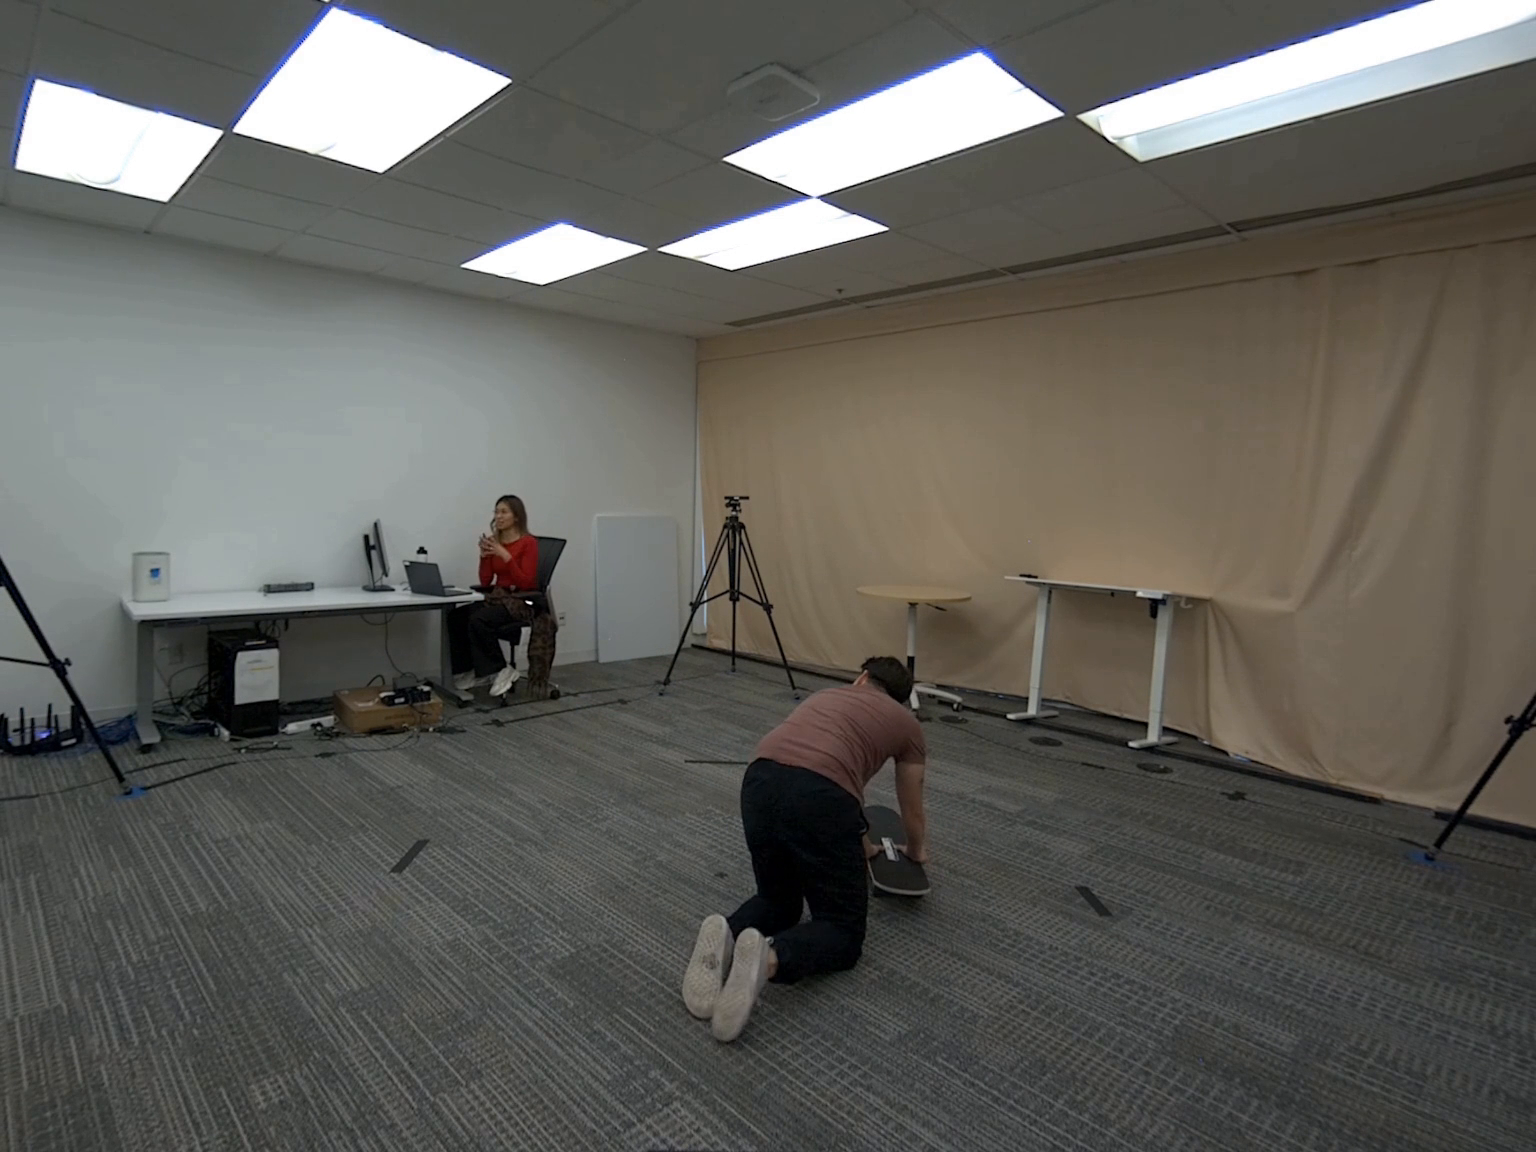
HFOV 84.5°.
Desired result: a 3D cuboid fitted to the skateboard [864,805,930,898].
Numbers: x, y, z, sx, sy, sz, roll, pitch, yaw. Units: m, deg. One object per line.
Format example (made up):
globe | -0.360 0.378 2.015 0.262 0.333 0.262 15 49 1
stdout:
skateboard | 0.450 1.060 3.170 0.193 0.110 0.787 2 5 -1
